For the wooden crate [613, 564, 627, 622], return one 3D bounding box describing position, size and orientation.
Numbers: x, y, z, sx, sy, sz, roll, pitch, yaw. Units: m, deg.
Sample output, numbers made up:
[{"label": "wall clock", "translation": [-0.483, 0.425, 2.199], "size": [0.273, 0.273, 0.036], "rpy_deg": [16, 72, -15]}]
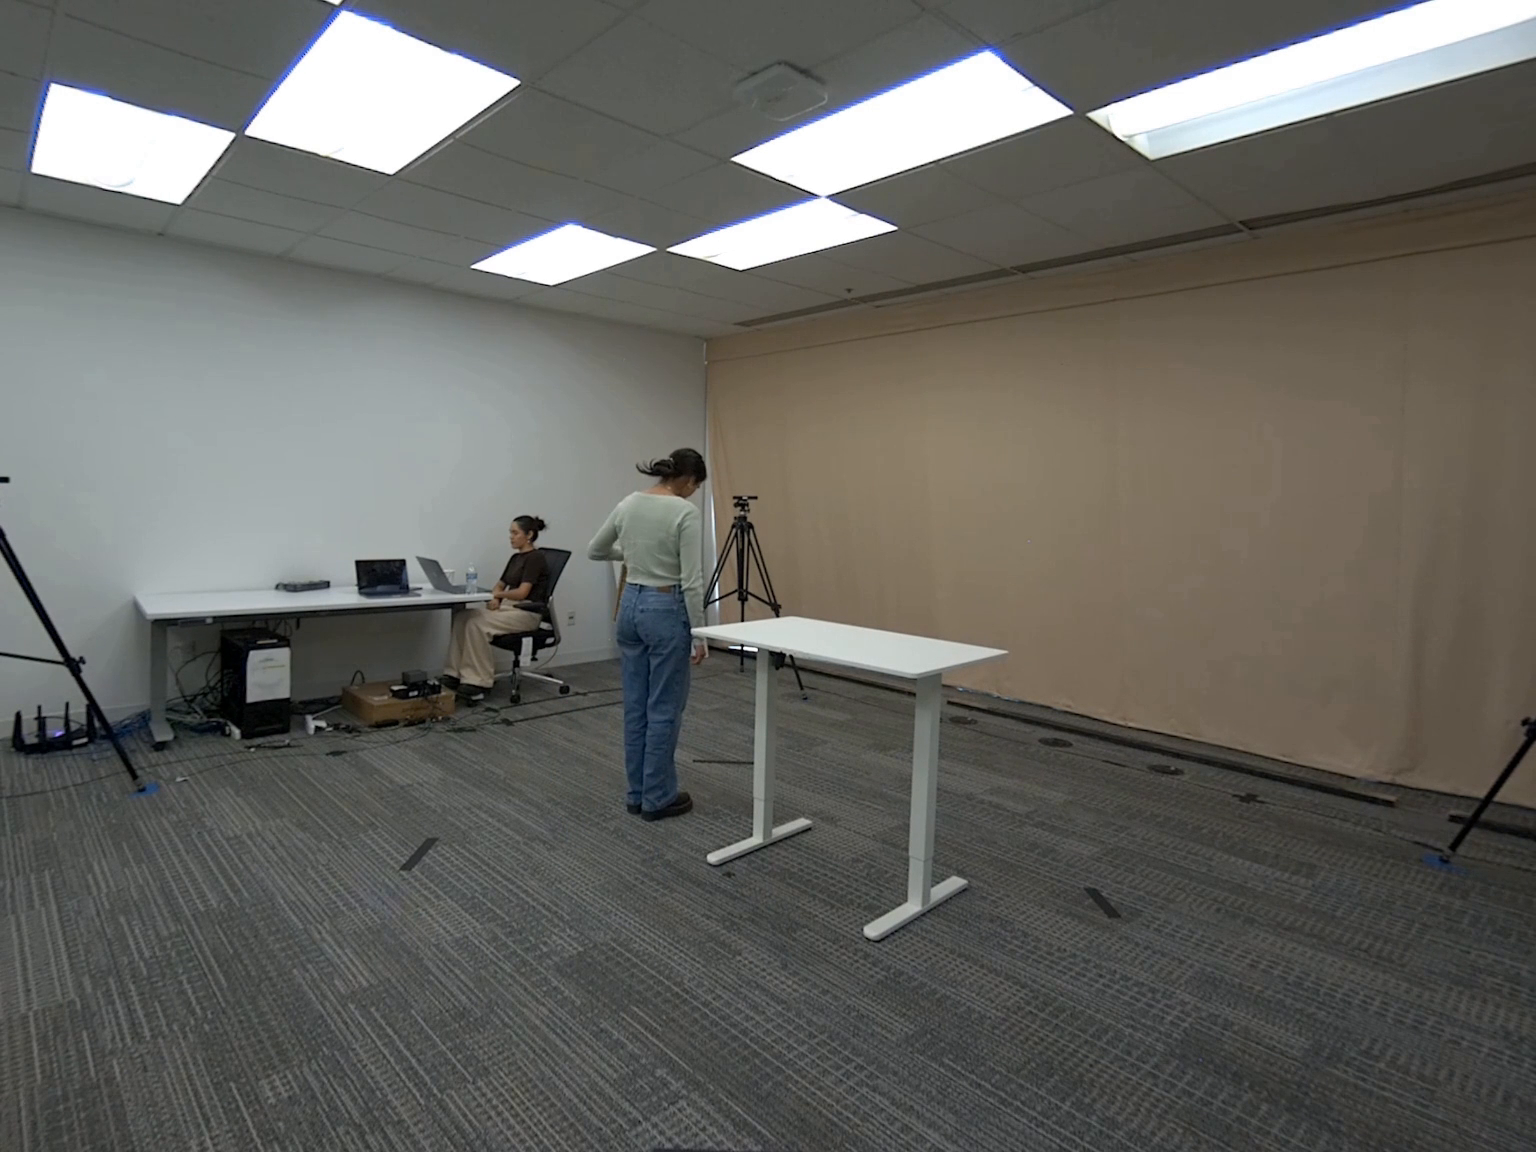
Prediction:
[{"label": "wooden crate", "translation": [-0.606, 0.083, 4.065], "size": [0.305, 0.321, 0.273], "rpy_deg": [15, 17, 10]}]
